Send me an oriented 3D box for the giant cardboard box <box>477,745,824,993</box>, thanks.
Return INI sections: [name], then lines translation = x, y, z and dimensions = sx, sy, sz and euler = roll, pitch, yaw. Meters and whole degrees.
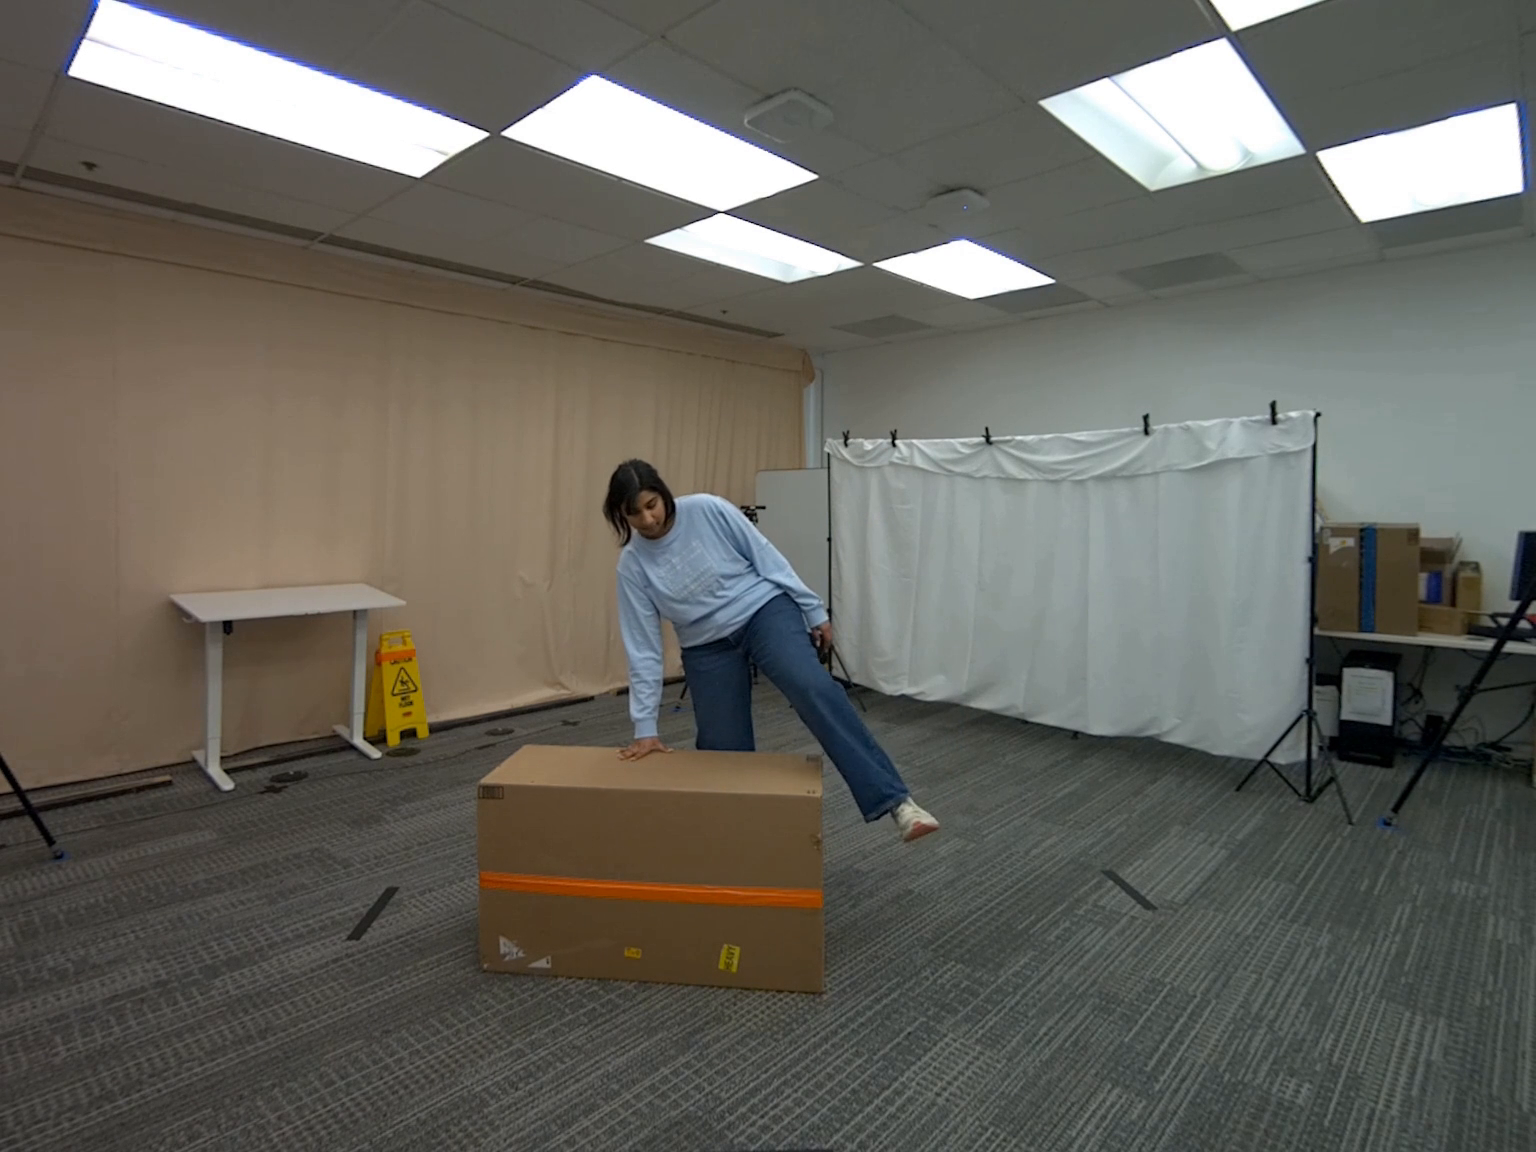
[giant cardboard box]
translation = -0.341, 0.881, 2.645
dimensions = 1.034, 0.576, 0.424
euler = 1, 4, 7
